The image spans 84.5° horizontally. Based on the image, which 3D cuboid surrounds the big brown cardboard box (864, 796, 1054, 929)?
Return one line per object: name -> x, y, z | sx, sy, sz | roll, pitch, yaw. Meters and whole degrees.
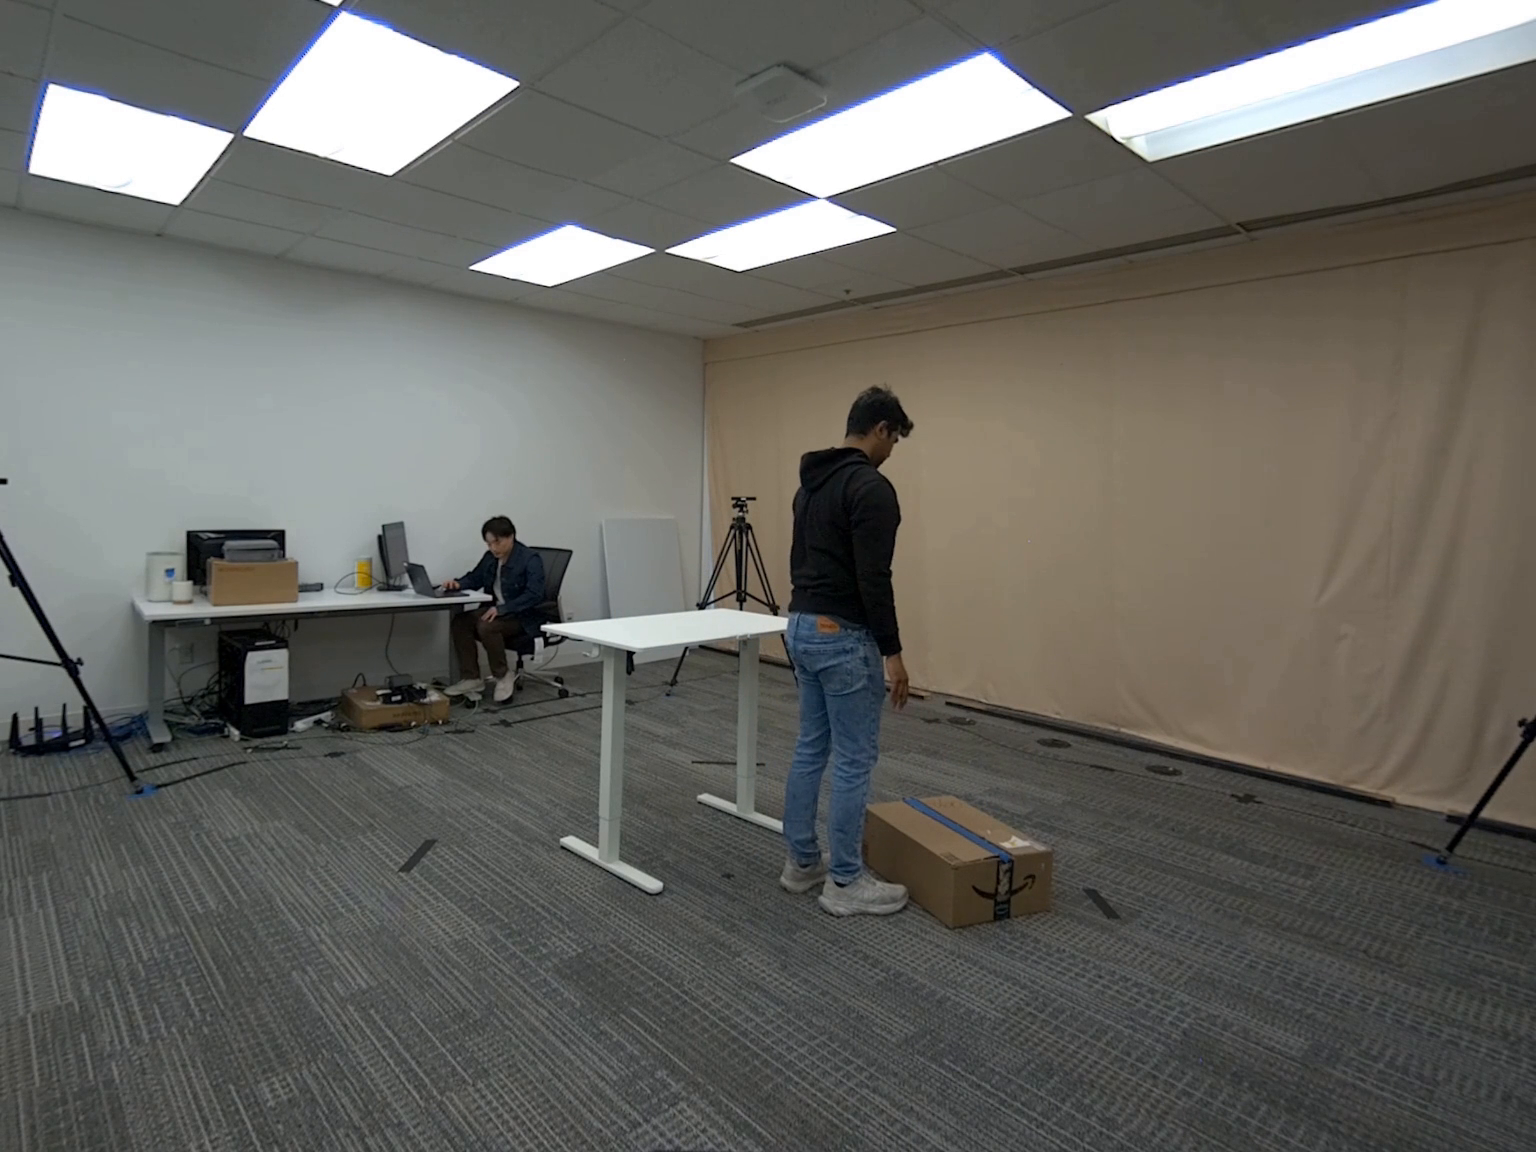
big brown cardboard box -> 0.664, 1.020, 3.076 | 0.410, 0.232, 0.601 | 0, 4, -25
